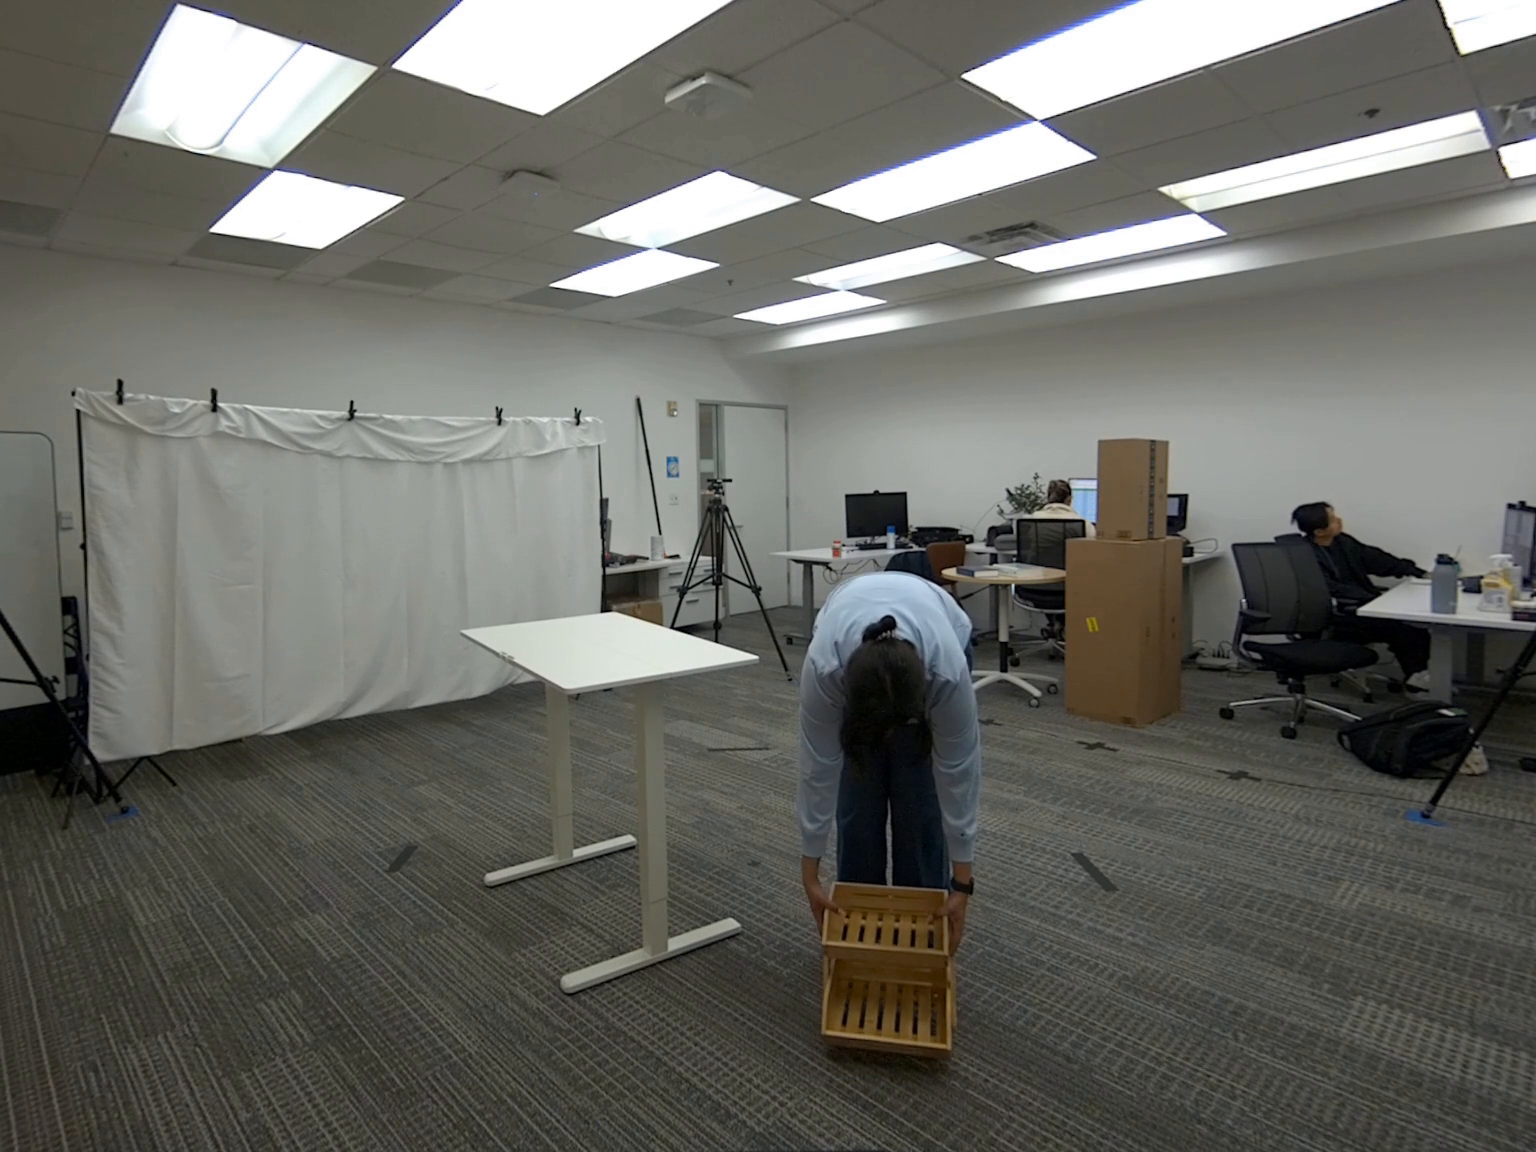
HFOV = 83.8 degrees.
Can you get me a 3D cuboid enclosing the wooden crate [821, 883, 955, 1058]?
[{"bbox_3d":[0.307,0.975,2.119,0.329,0.271,0.301,-2,10,13],"label":"wooden crate"}]
